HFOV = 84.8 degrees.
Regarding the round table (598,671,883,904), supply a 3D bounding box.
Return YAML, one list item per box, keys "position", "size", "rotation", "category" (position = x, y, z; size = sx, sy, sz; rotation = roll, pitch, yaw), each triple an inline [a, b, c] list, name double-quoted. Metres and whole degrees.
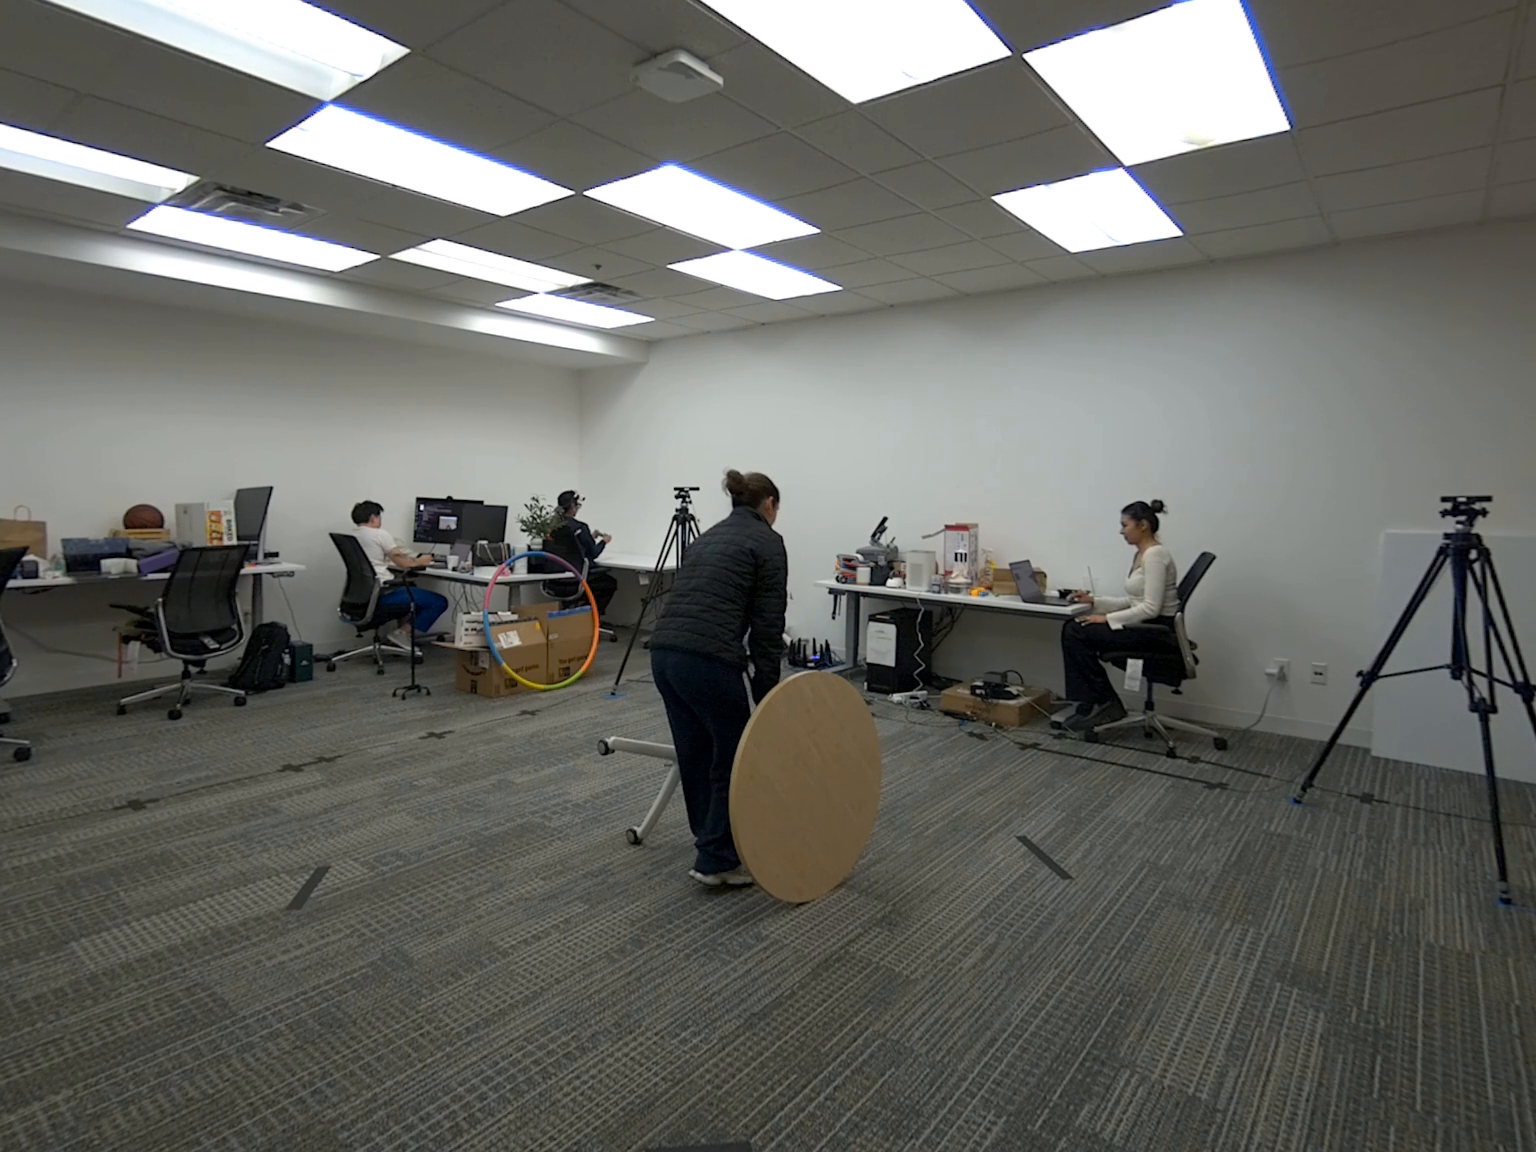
- position: [-0.123, 0.719, 3.201]
  size: [0.810, 0.786, 0.761]
  rotation: [-3, 0, 44]
  category: "round table"
